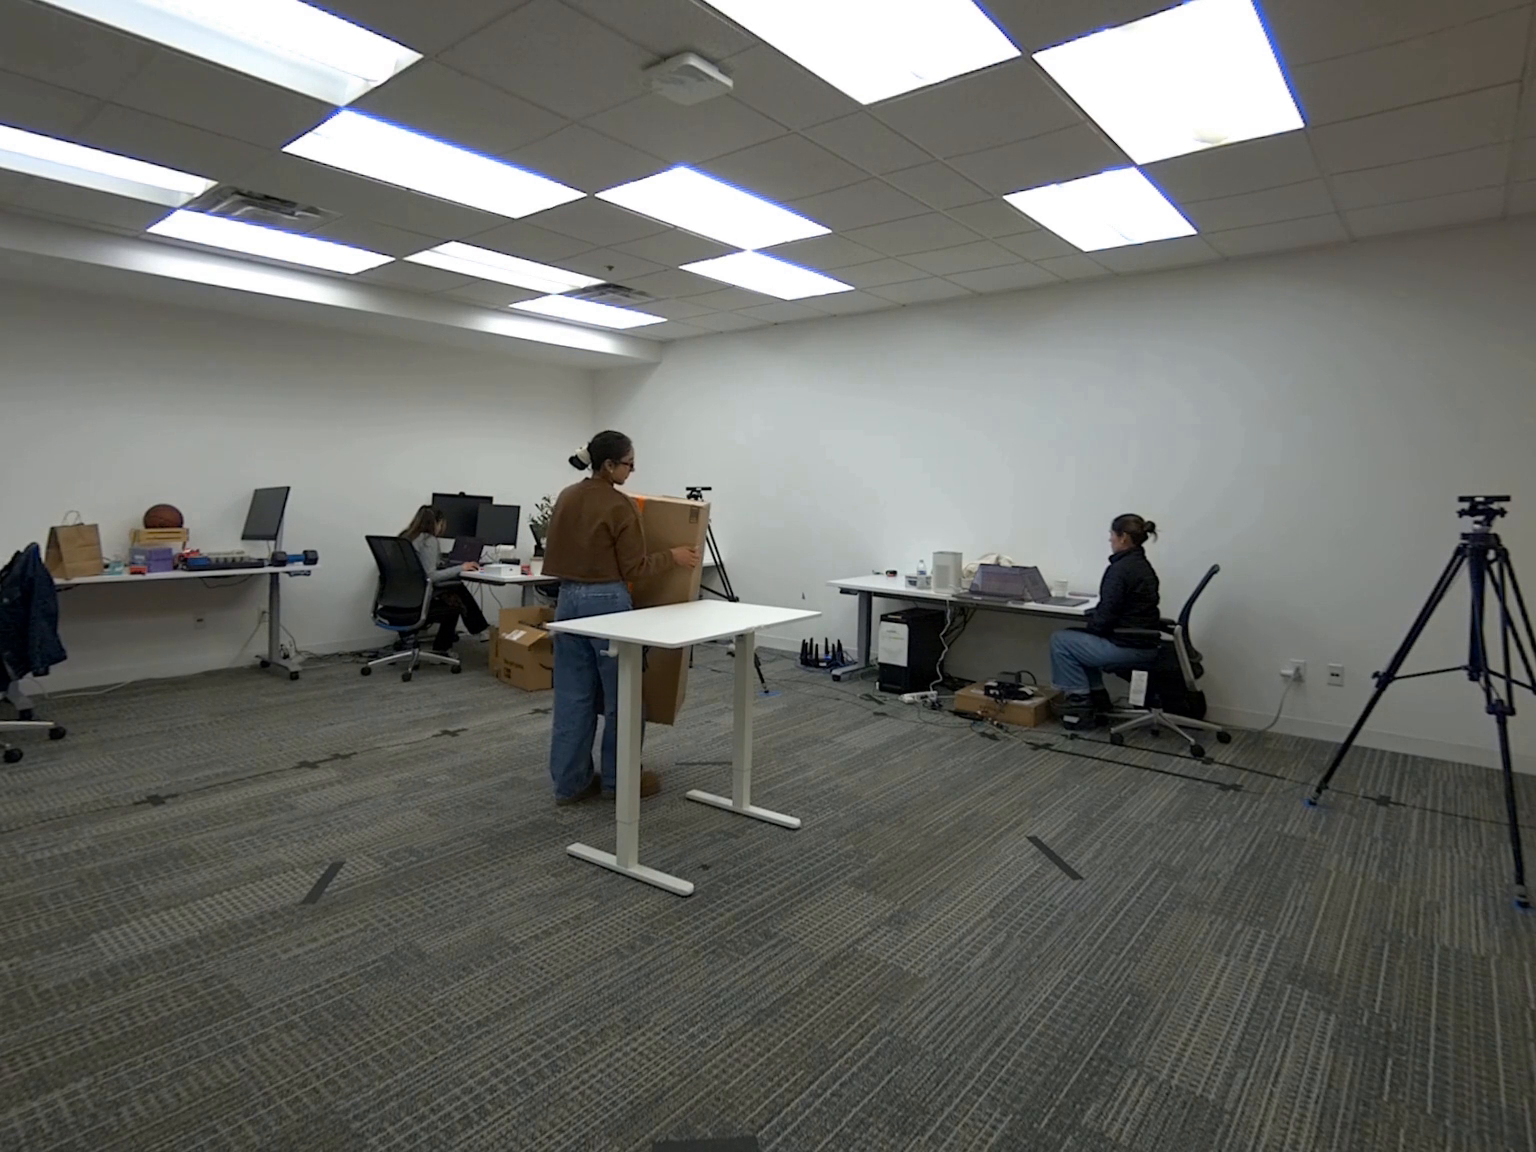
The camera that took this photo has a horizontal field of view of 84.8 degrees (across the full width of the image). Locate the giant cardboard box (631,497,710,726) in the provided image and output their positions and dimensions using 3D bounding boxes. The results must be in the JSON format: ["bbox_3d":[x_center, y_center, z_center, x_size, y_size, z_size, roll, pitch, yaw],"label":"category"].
[{"bbox_3d":[-0.649,0.117,4.102,0.580,1.021,0.426,7,5,3],"label":"giant cardboard box"}]
